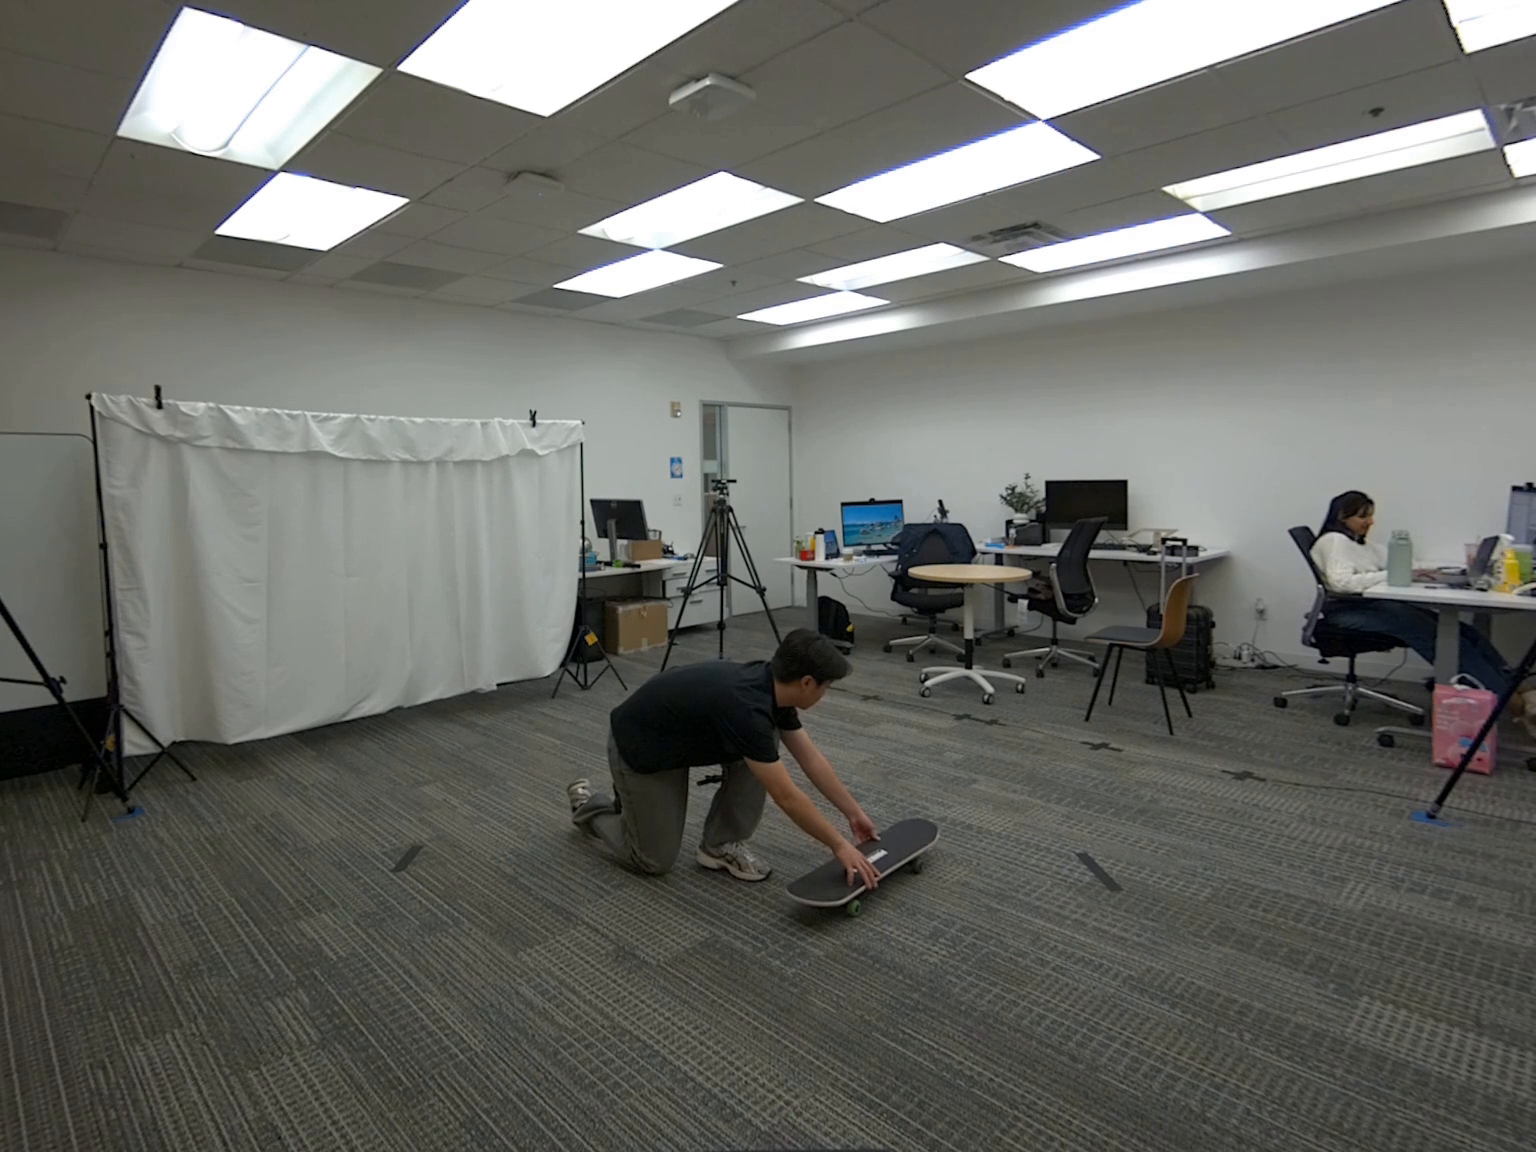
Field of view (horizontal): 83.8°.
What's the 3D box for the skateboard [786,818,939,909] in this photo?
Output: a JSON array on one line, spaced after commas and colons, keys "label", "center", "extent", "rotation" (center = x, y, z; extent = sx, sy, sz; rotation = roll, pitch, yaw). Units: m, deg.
[{"label": "skateboard", "center": [0.344, 1.001, 2.922], "extent": [0.199, 0.110, 0.765], "rotation": [4, 9, 41]}]
